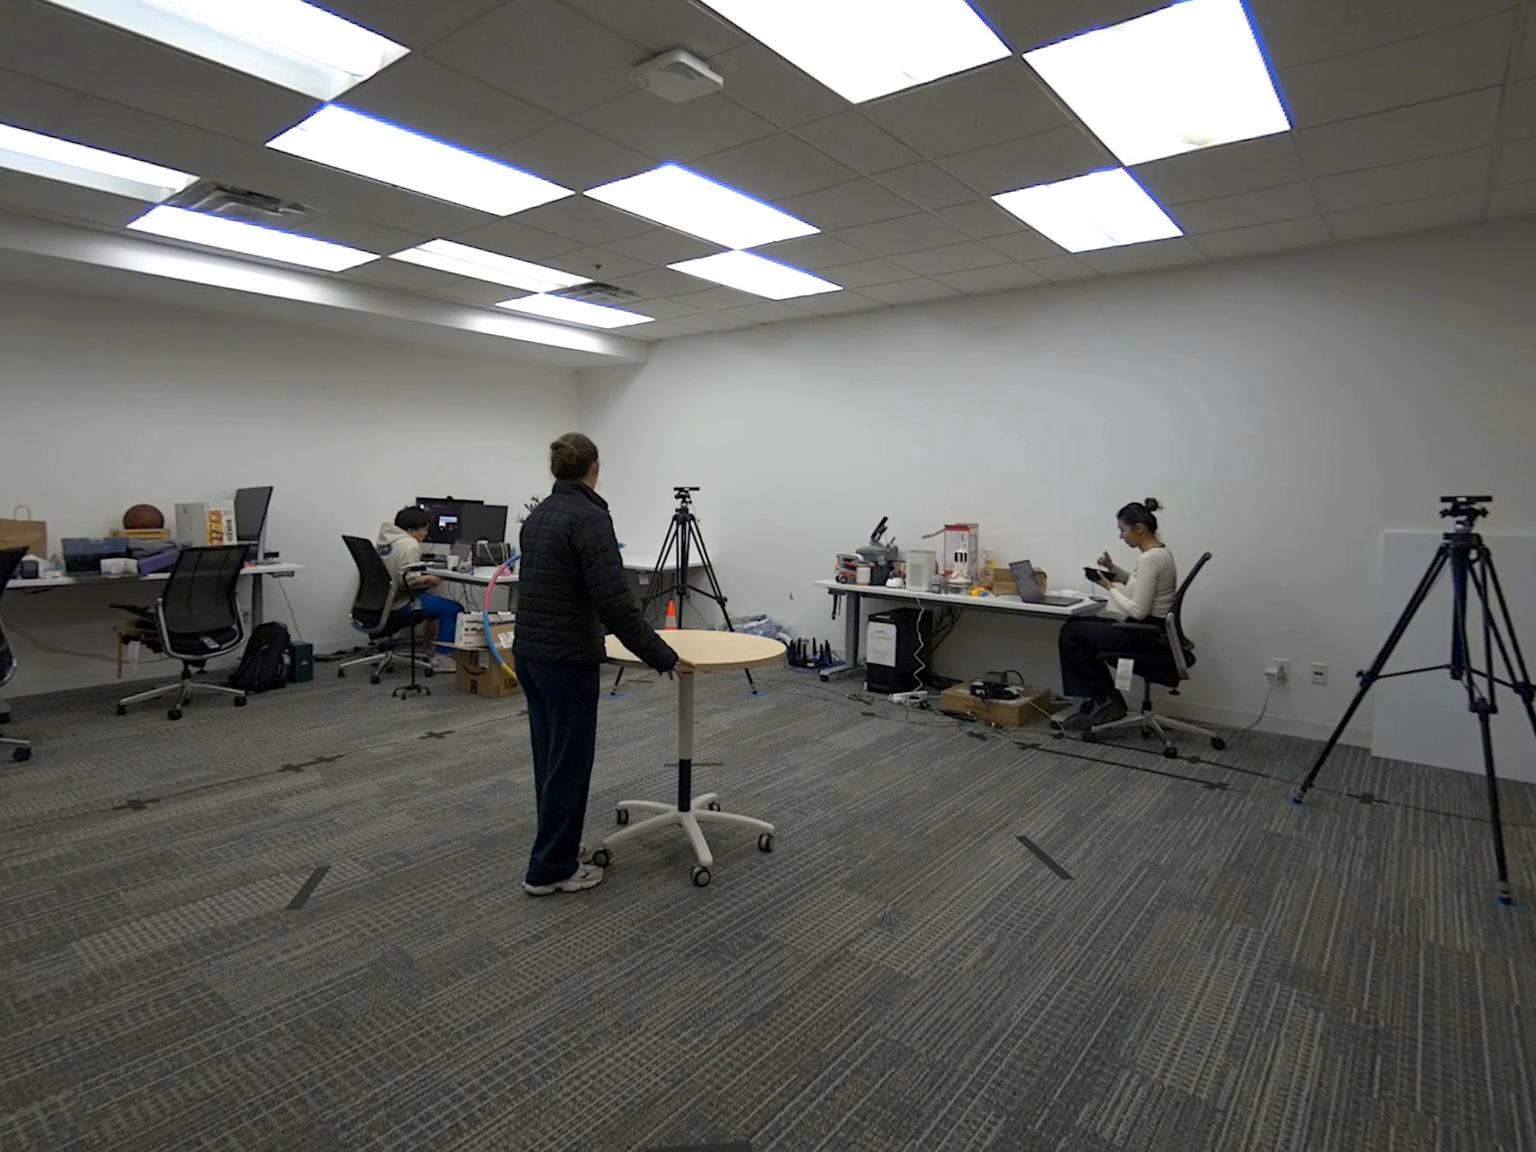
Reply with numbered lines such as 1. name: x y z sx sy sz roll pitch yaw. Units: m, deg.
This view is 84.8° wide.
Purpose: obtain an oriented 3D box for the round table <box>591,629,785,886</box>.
1. round table: -0.318 0.652 3.305 0.784 0.785 0.788 1 3 -2
